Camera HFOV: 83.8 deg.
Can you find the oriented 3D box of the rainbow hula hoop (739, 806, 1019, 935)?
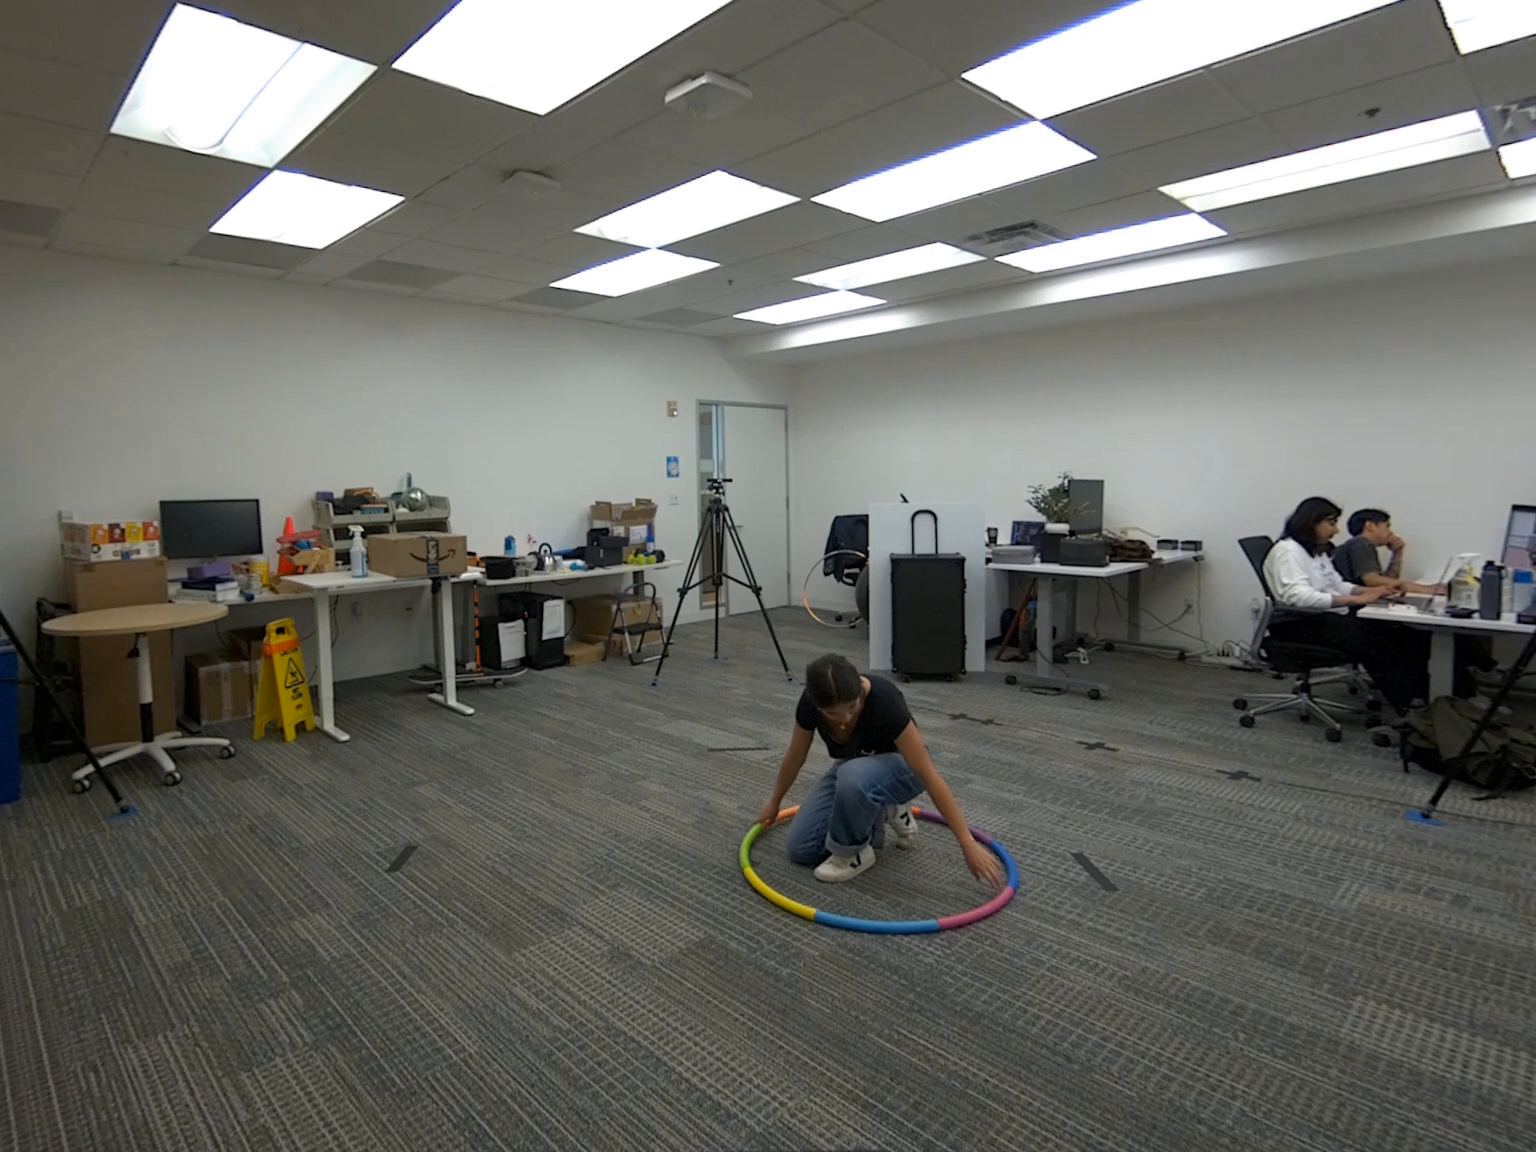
[{"bbox_3d":[0.383,1.003,3.101,0.978,0.035,0.985,-1,8,-2],"label":"rainbow hula hoop"}]
